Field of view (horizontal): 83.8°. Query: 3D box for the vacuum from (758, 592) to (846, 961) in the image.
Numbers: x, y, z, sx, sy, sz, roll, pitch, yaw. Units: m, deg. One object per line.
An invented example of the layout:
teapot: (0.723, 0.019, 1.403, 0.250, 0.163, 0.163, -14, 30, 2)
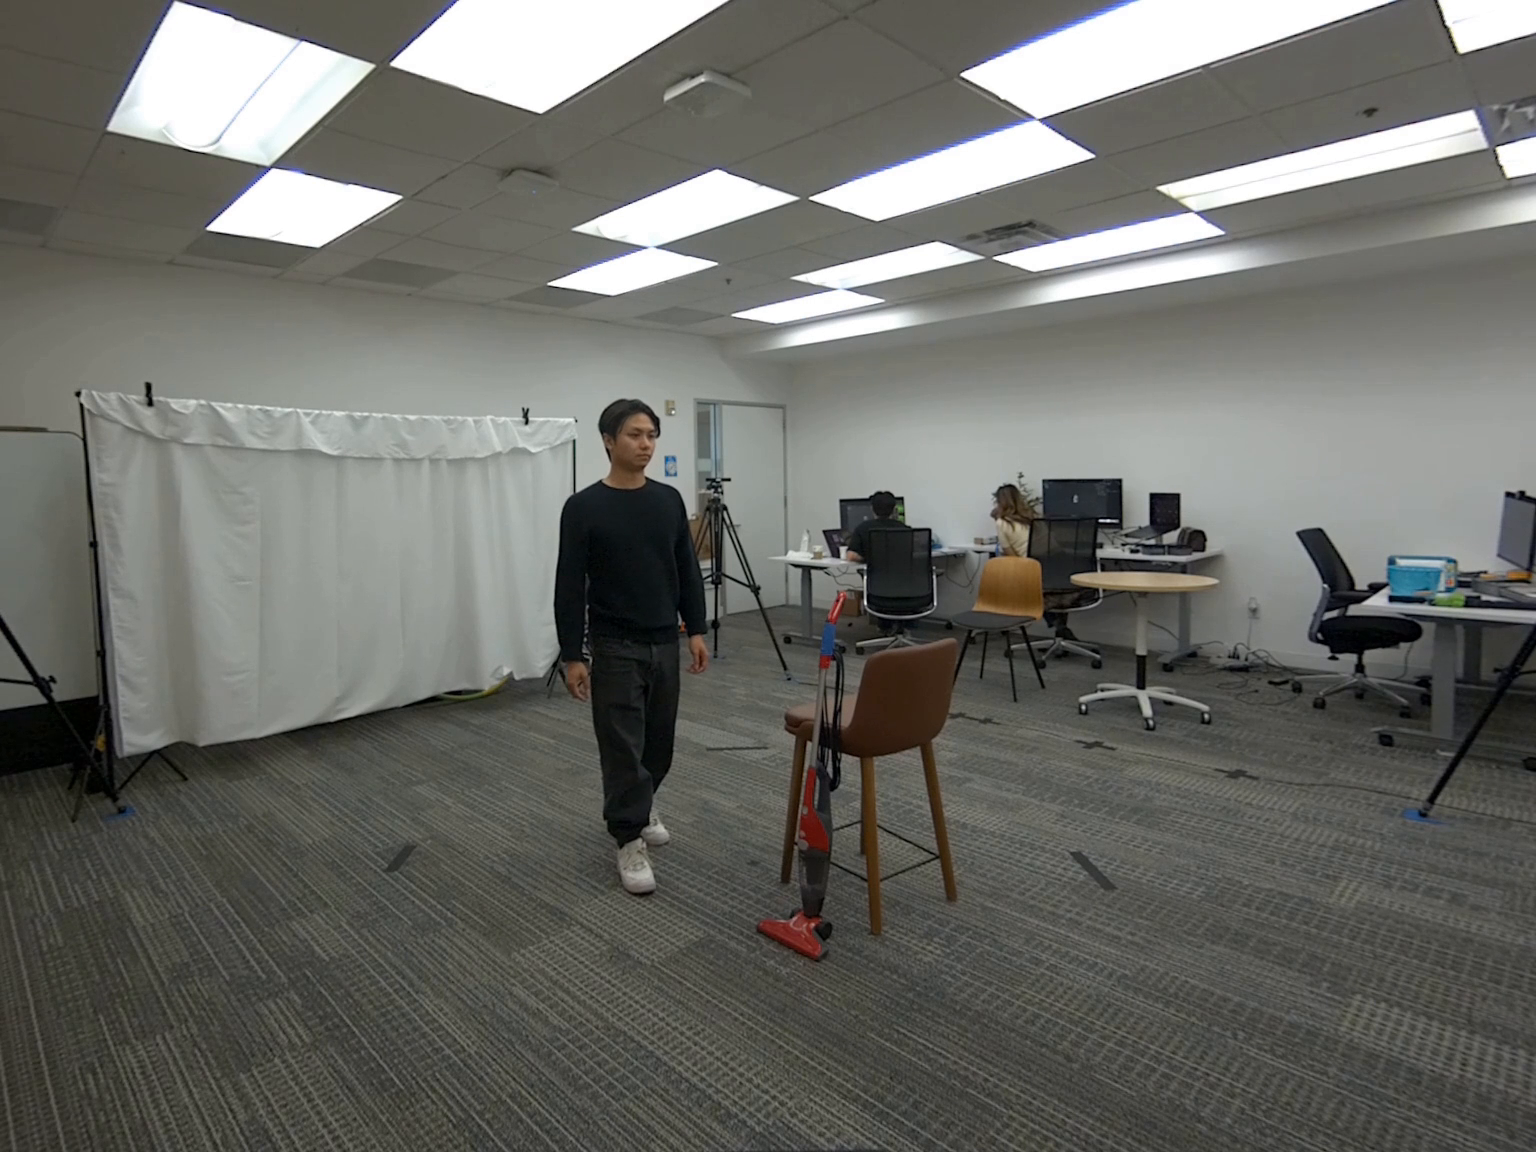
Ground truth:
vacuum: (0.177, 0.586, 2.636, 0.260, 1.053, 0.139, 2, -7, 45)
